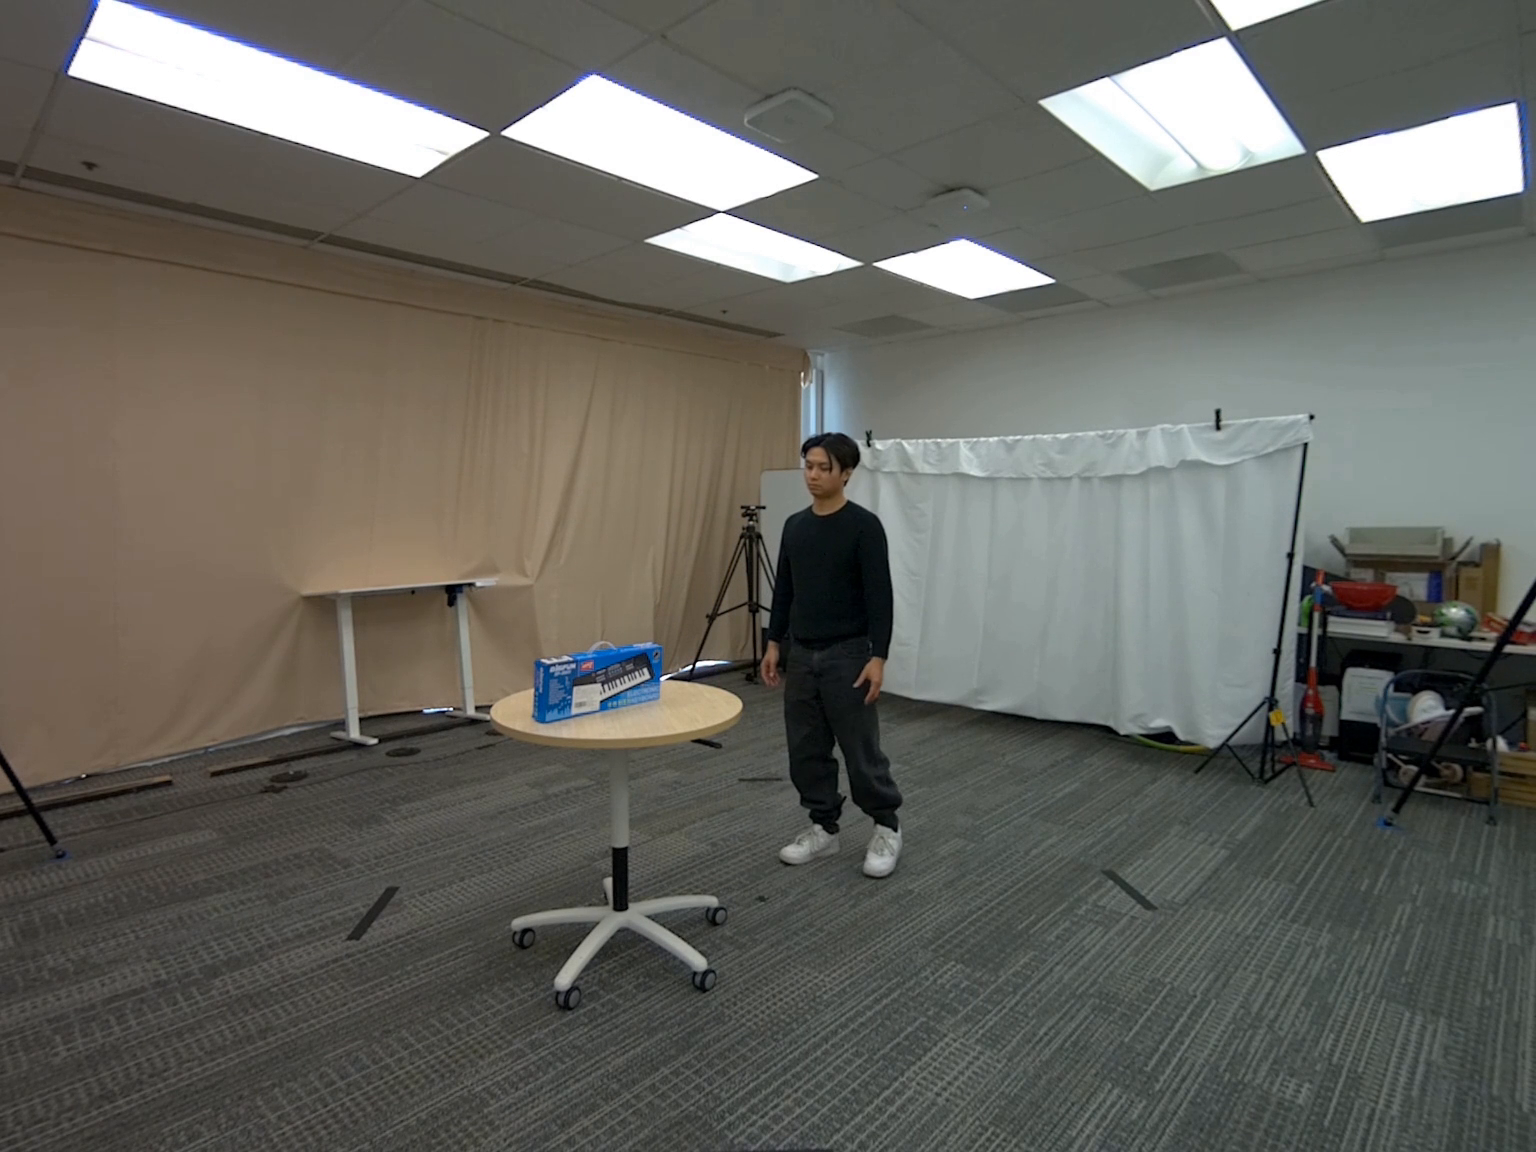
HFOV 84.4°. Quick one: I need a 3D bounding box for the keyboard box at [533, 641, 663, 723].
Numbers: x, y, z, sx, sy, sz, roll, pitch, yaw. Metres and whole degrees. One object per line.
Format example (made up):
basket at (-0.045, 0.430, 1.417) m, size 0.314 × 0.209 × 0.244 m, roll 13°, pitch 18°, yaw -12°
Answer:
keyboard box at (-0.500, 0.316, 2.521) m, size 0.061 × 0.175 × 0.423 m, roll 9°, pitch 10°, yaw 42°
